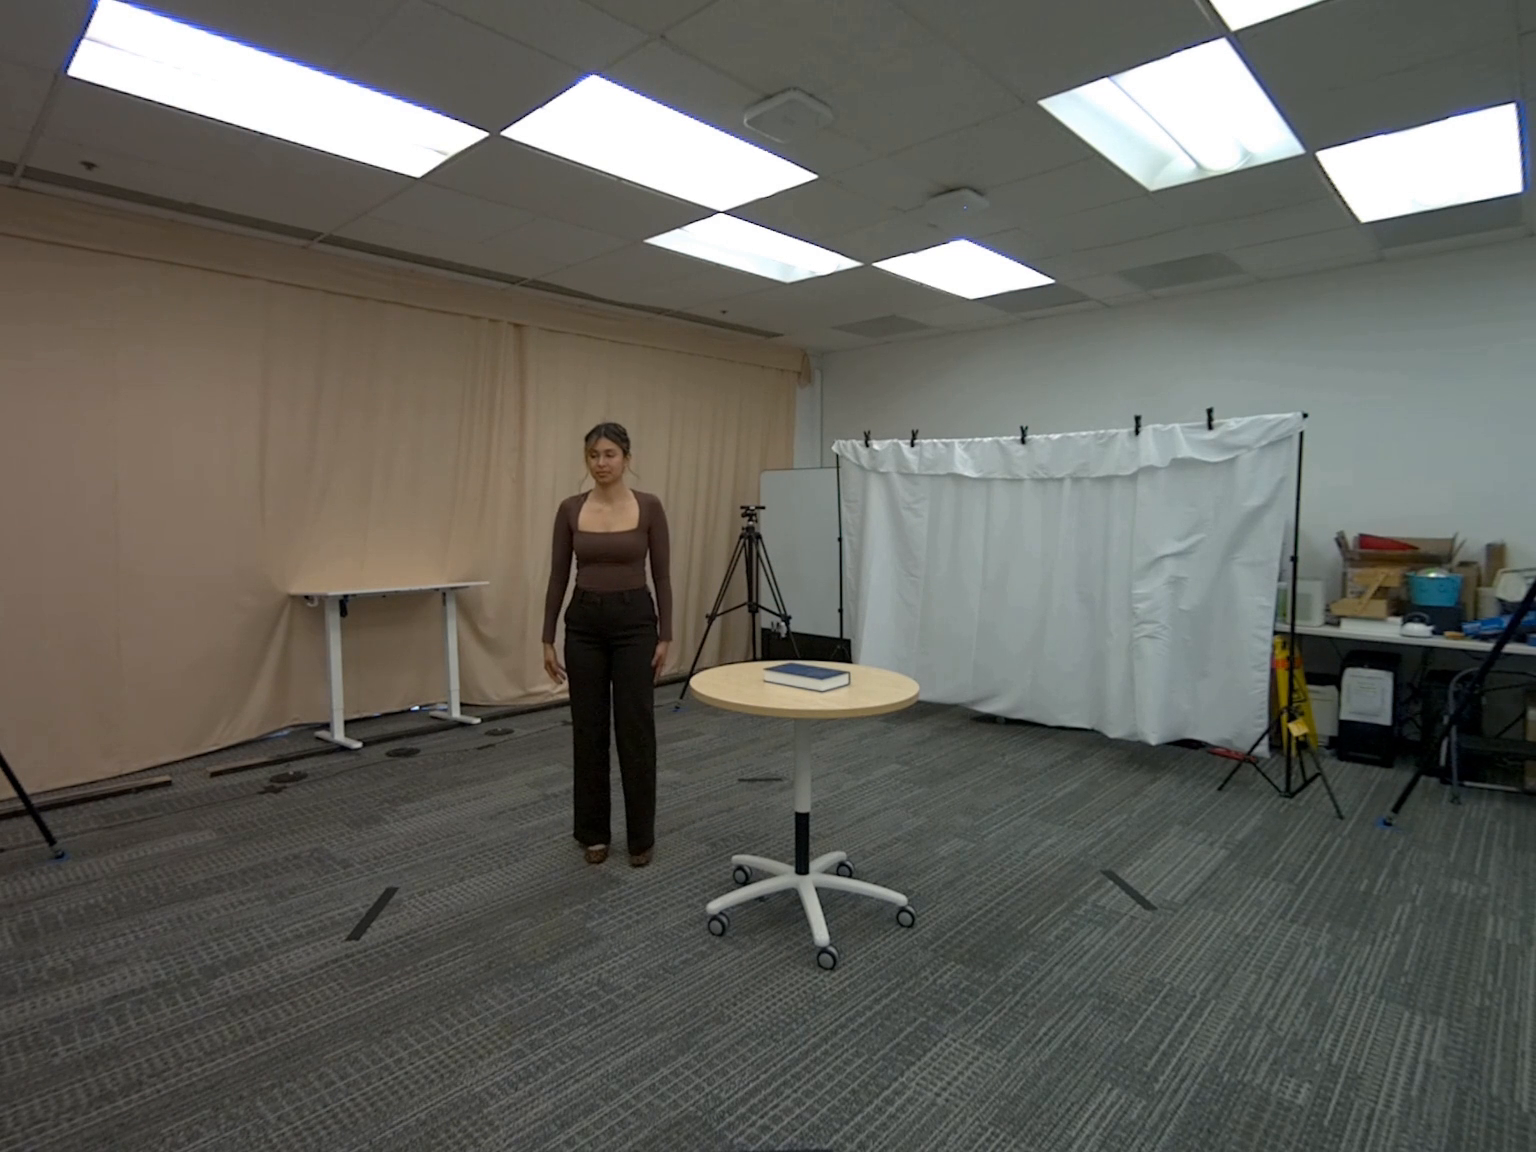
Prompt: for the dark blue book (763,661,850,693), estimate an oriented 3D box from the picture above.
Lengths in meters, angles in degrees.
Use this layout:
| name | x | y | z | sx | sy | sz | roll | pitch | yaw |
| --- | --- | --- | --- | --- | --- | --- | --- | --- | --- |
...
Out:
| name | x | y | z | sx | sy | sz | roll | pitch | yaw |
| --- | --- | --- | --- | --- | --- | --- | --- | --- | --- |
| dark blue book | 0.134 | 0.339 | 2.818 | 0.253 | 0.045 | 0.158 | 5 | 7 | 40 |
